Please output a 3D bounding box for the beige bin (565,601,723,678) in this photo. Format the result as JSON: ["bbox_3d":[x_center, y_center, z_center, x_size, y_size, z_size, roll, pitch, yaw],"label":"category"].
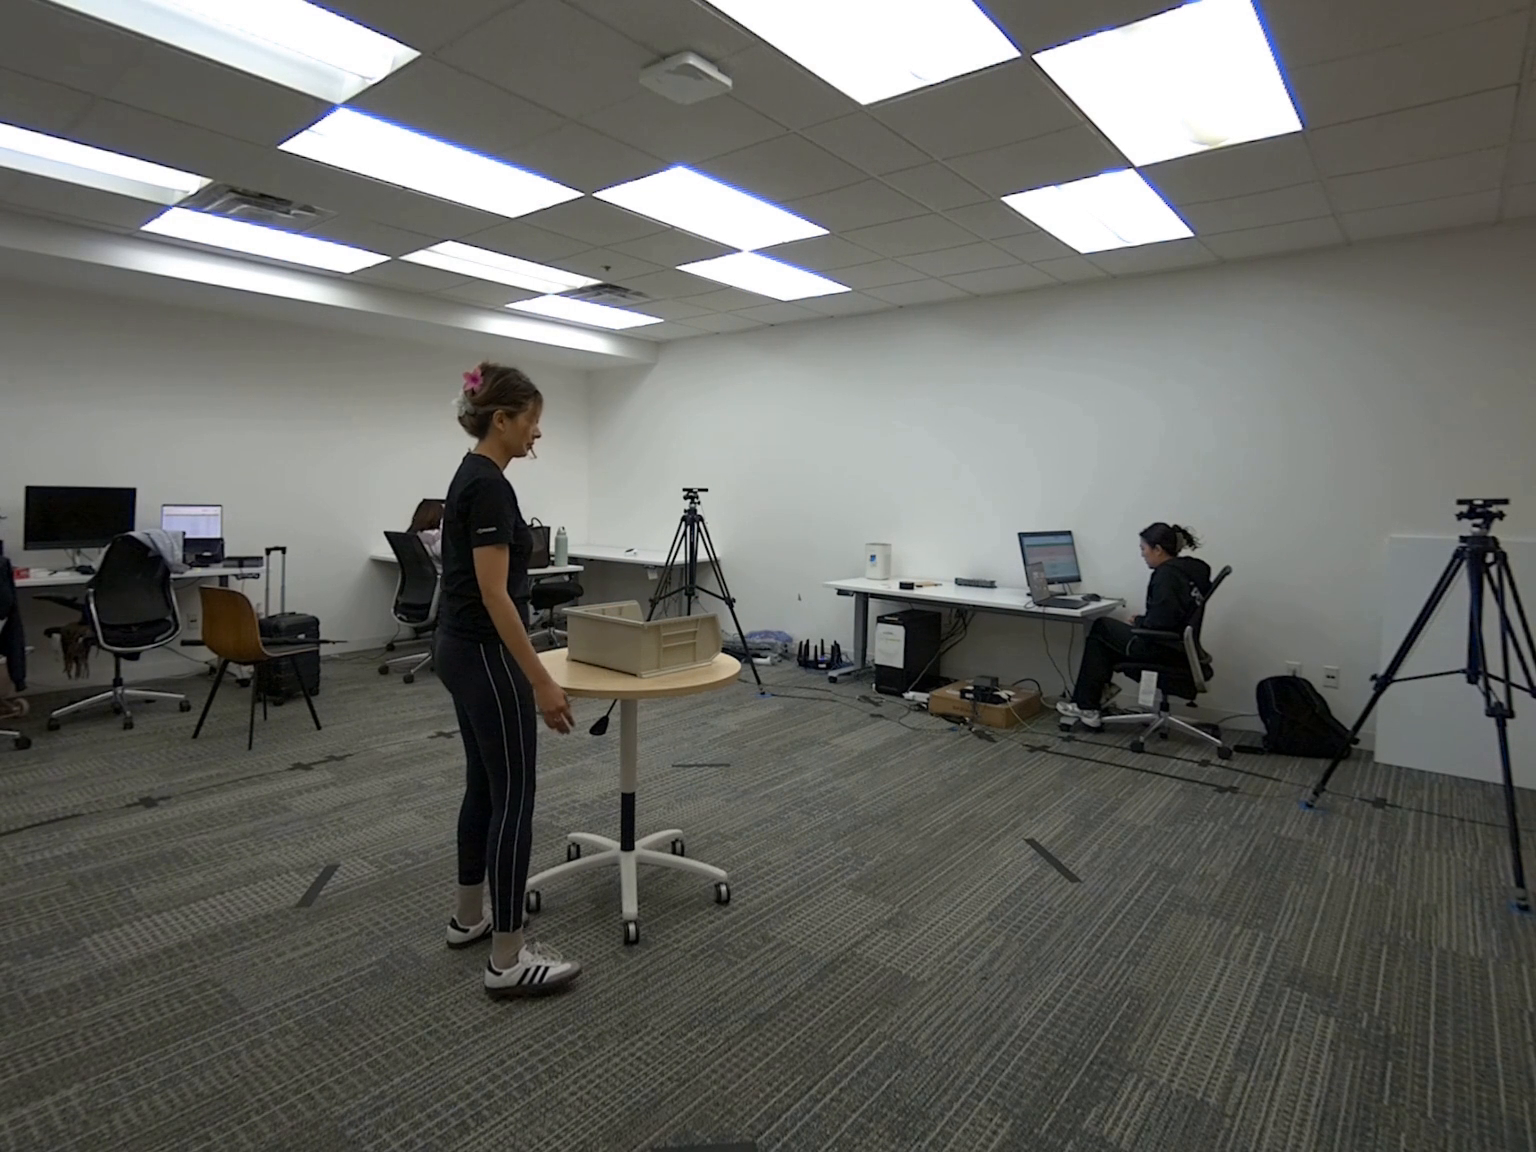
[{"bbox_3d":[-0.450,0.206,2.949,0.437,0.188,0.366,6,8,42],"label":"beige bin"}]
